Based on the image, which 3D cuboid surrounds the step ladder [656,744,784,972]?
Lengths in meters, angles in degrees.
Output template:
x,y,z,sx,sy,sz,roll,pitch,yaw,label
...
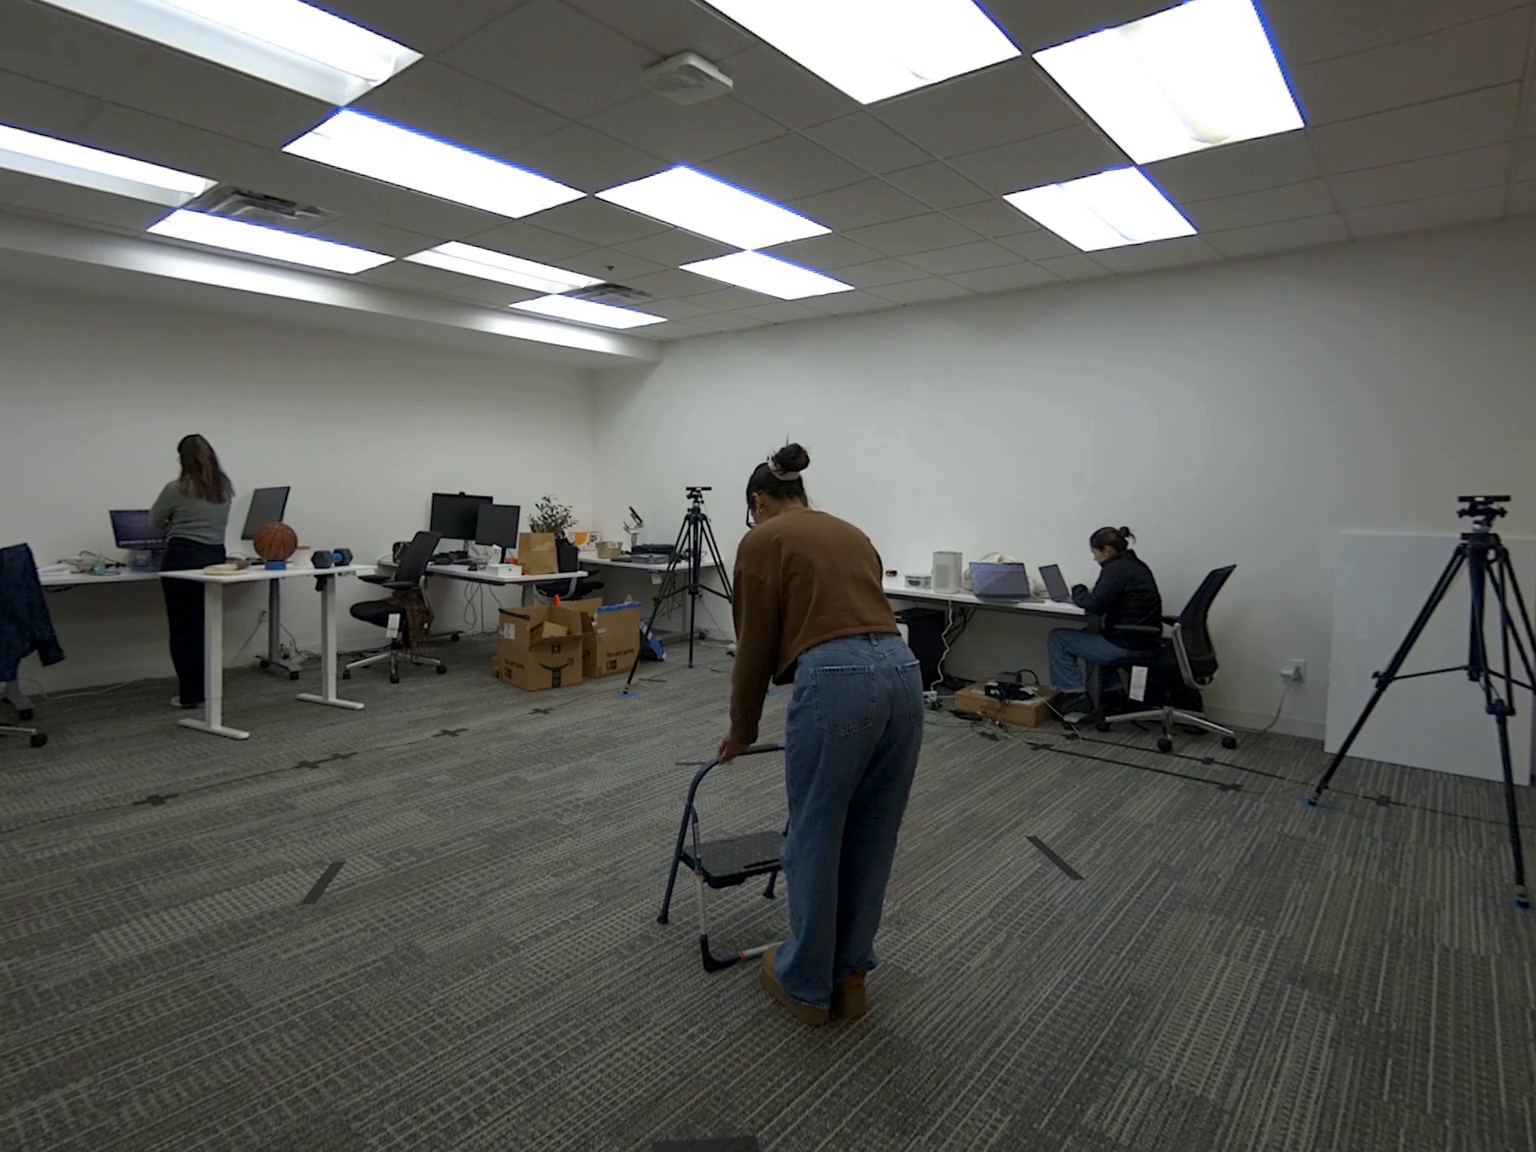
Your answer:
x,y,z,sx,sy,sz,roll,pitch,yaw,label
-0.094,0.808,2.662,0.419,0.604,0.360,-2,4,-30,step ladder
